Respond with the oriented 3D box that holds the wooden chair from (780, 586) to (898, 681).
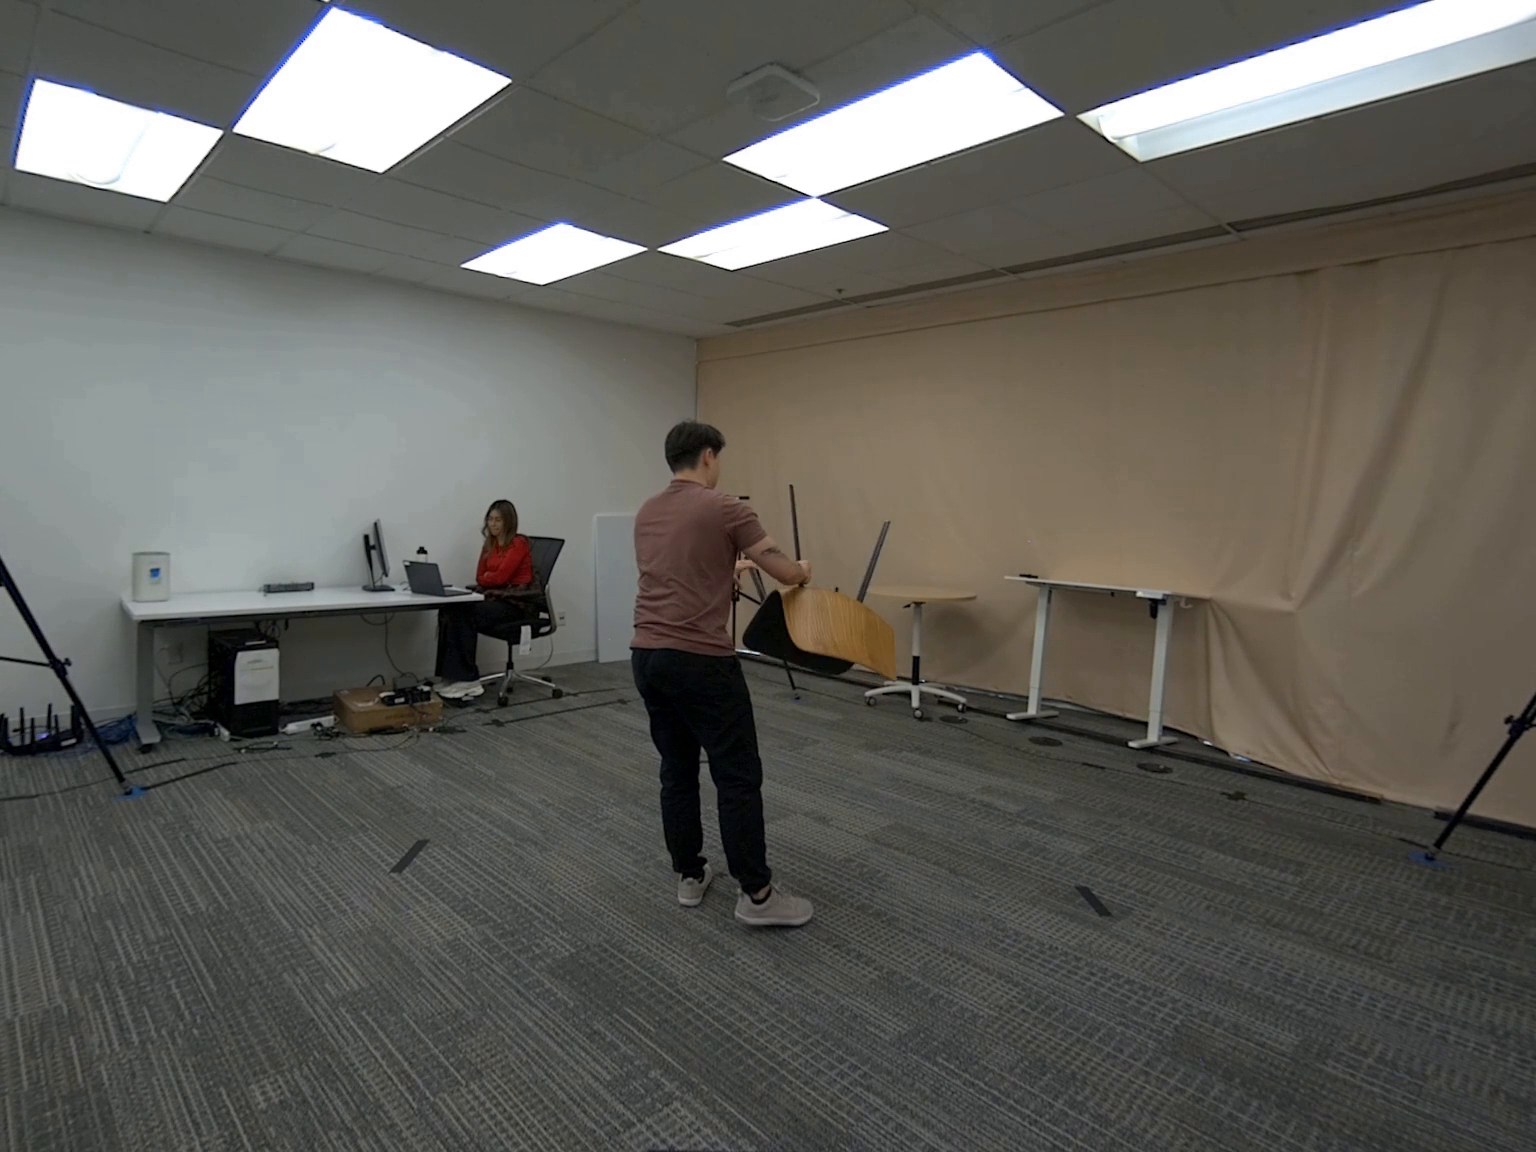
[{"bbox_3d":[0.171,0.173,3.202,0.471,0.520,0.896,19,39,-16],"label":"wooden chair"}]
